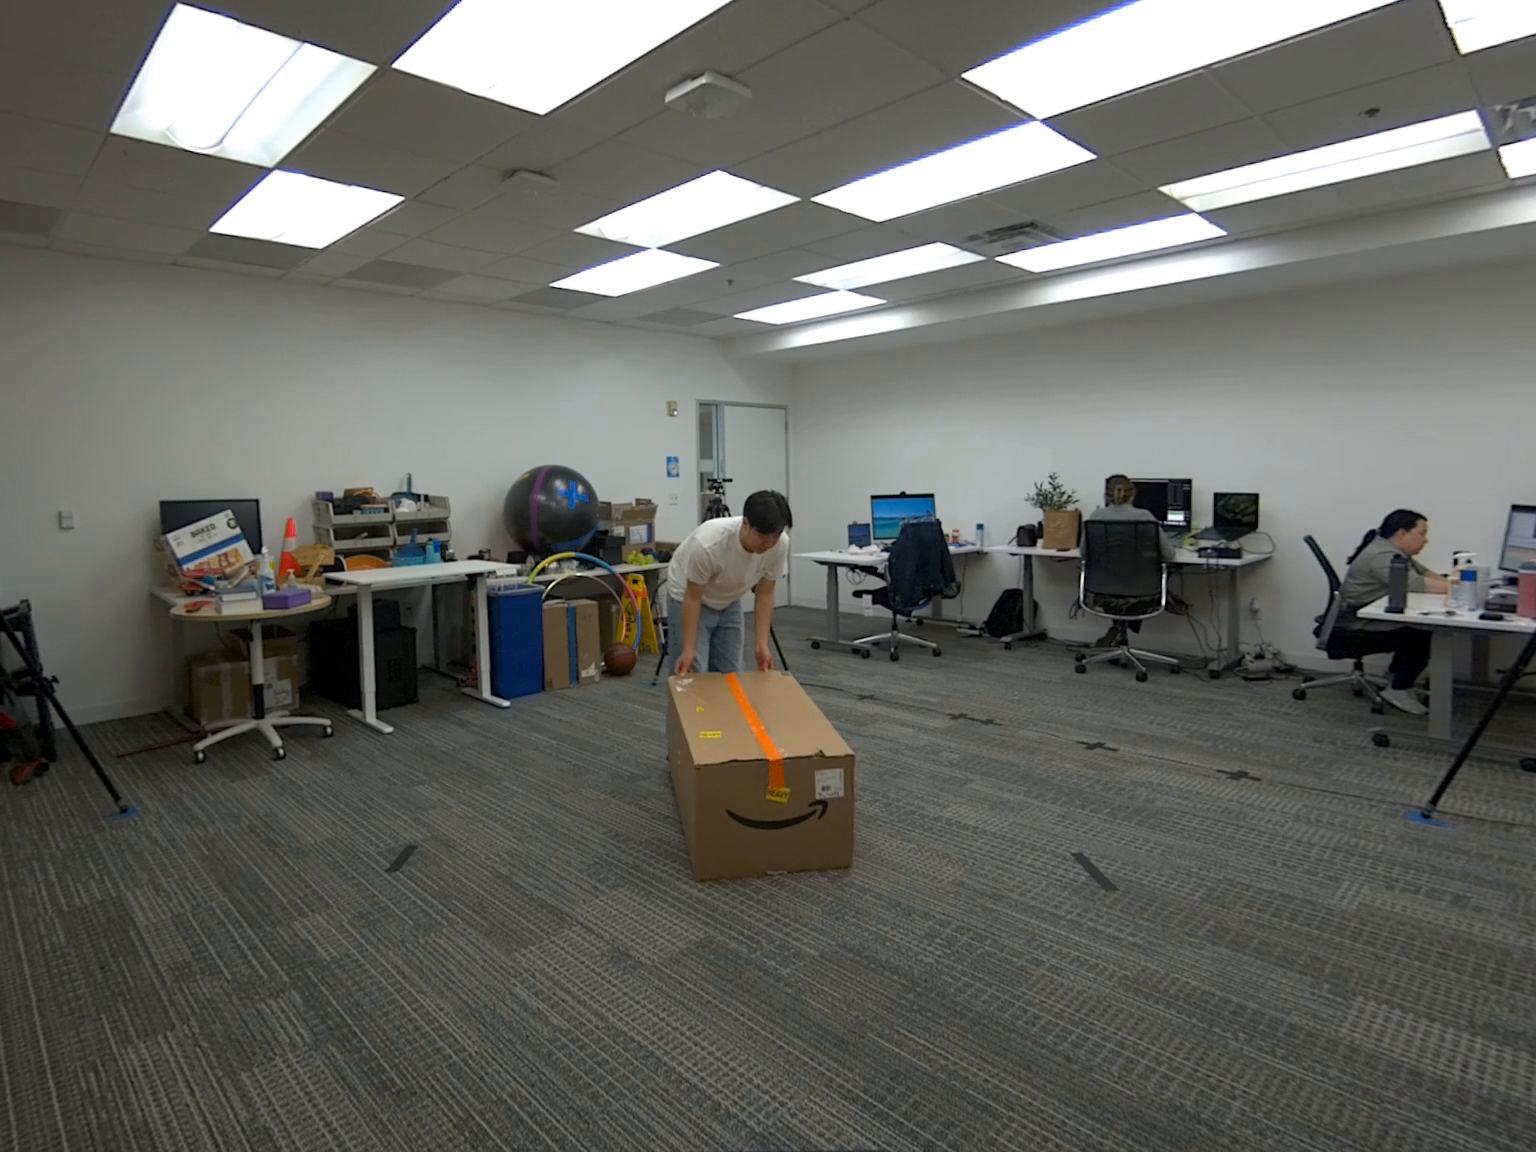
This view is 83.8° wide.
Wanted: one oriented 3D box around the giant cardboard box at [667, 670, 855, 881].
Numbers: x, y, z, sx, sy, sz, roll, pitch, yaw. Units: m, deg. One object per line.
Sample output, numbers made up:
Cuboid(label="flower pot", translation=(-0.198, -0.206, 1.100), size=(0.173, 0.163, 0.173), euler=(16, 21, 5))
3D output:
Cuboid(label="giant cardboard box", translation=(-0.075, 0.748, 3.473), size=(0.572, 0.423, 1.044), euler=(-2, 10, -11))
